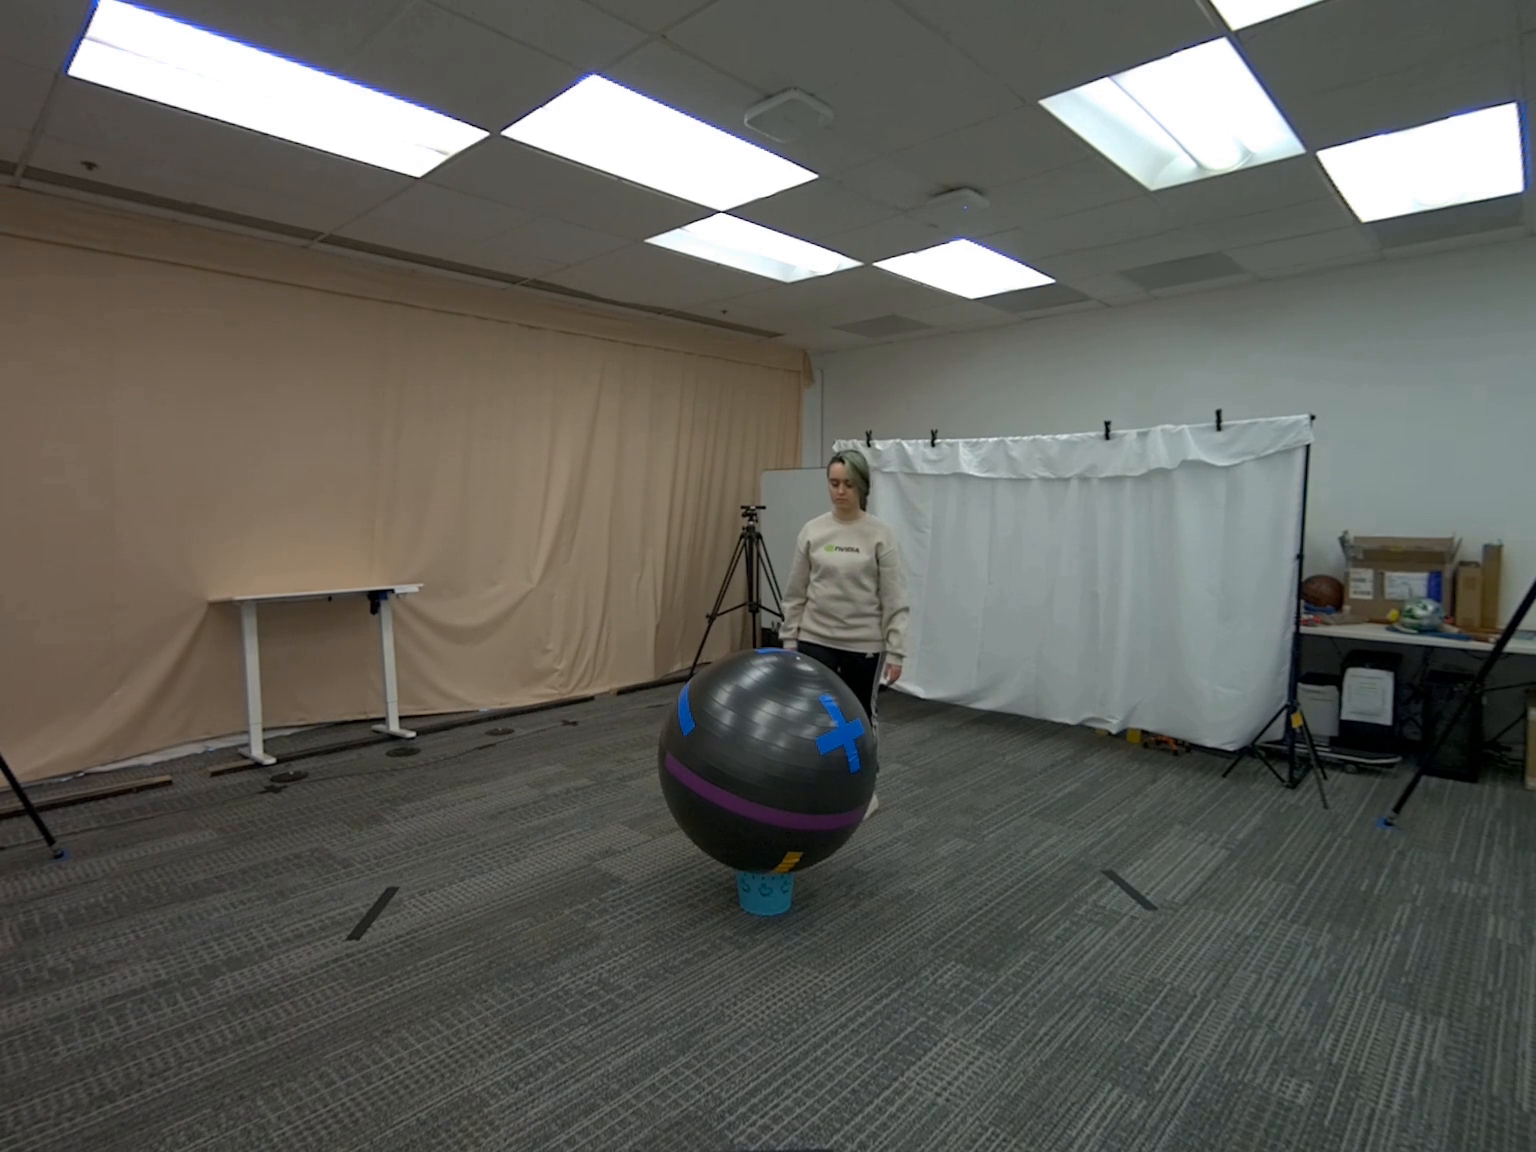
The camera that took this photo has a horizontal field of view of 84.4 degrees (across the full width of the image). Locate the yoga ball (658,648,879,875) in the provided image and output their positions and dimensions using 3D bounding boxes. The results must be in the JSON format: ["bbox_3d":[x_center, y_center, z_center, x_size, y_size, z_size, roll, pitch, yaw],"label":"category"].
[{"bbox_3d":[-0.004,0.635,2.926,0.757,0.756,0.760,0,4,-2],"label":"yoga ball"}]
